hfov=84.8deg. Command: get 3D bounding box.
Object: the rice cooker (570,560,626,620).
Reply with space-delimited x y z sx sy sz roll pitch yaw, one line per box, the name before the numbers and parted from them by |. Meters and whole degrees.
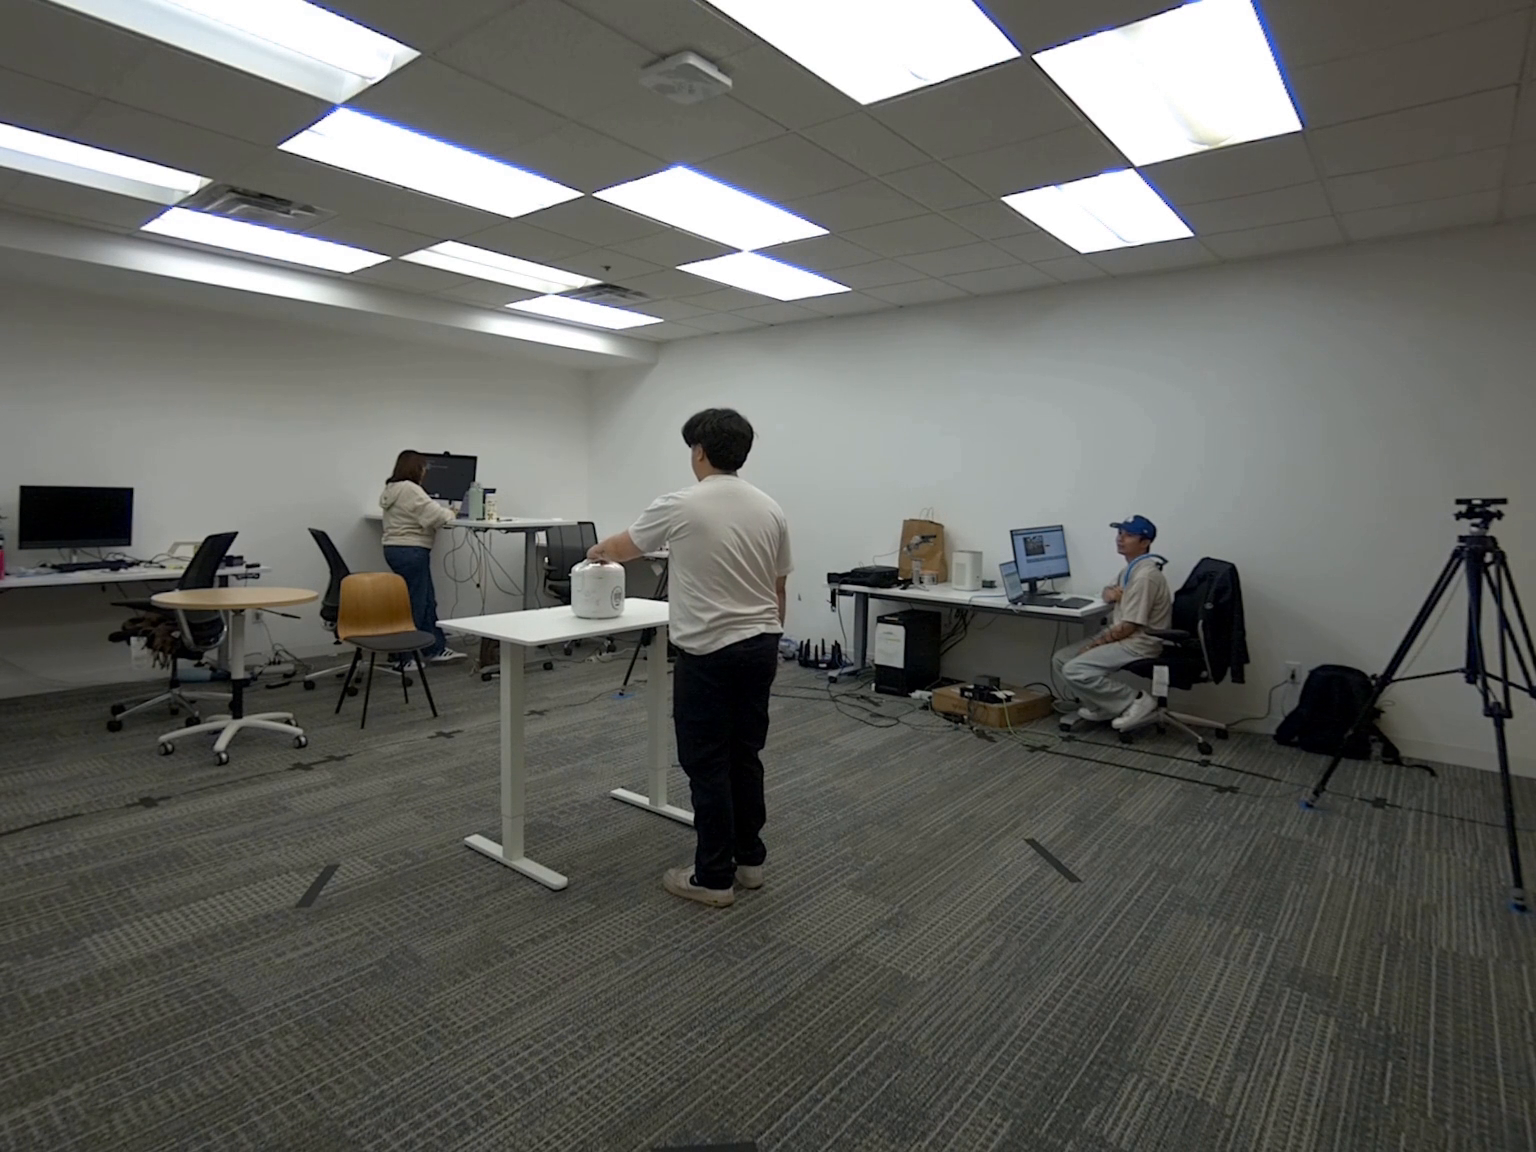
rice cooker | -0.677 0.040 3.344 0.224 0.232 0.214 3 5 37
